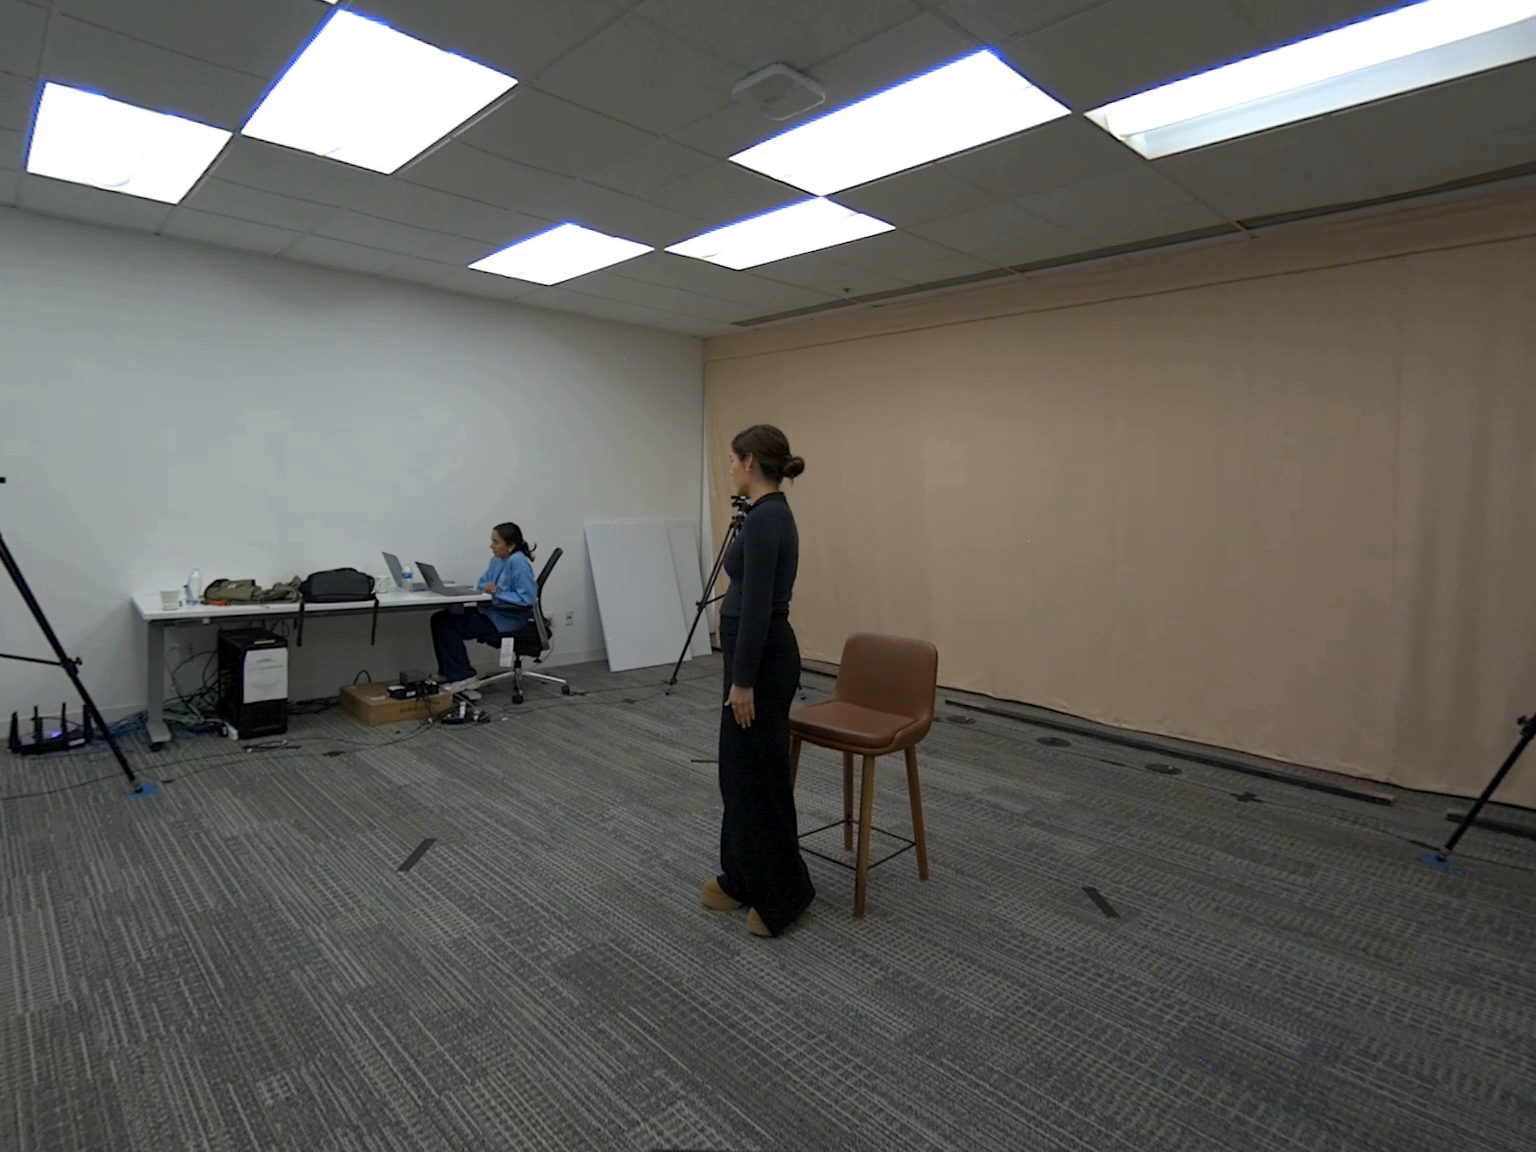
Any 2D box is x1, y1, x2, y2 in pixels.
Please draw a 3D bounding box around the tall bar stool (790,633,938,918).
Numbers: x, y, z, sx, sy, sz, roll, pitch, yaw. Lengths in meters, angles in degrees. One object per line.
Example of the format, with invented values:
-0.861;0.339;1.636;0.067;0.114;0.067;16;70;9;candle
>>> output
0.319;0.679;3.064;0.468;0.889;0.456;4;2;44;tall bar stool
